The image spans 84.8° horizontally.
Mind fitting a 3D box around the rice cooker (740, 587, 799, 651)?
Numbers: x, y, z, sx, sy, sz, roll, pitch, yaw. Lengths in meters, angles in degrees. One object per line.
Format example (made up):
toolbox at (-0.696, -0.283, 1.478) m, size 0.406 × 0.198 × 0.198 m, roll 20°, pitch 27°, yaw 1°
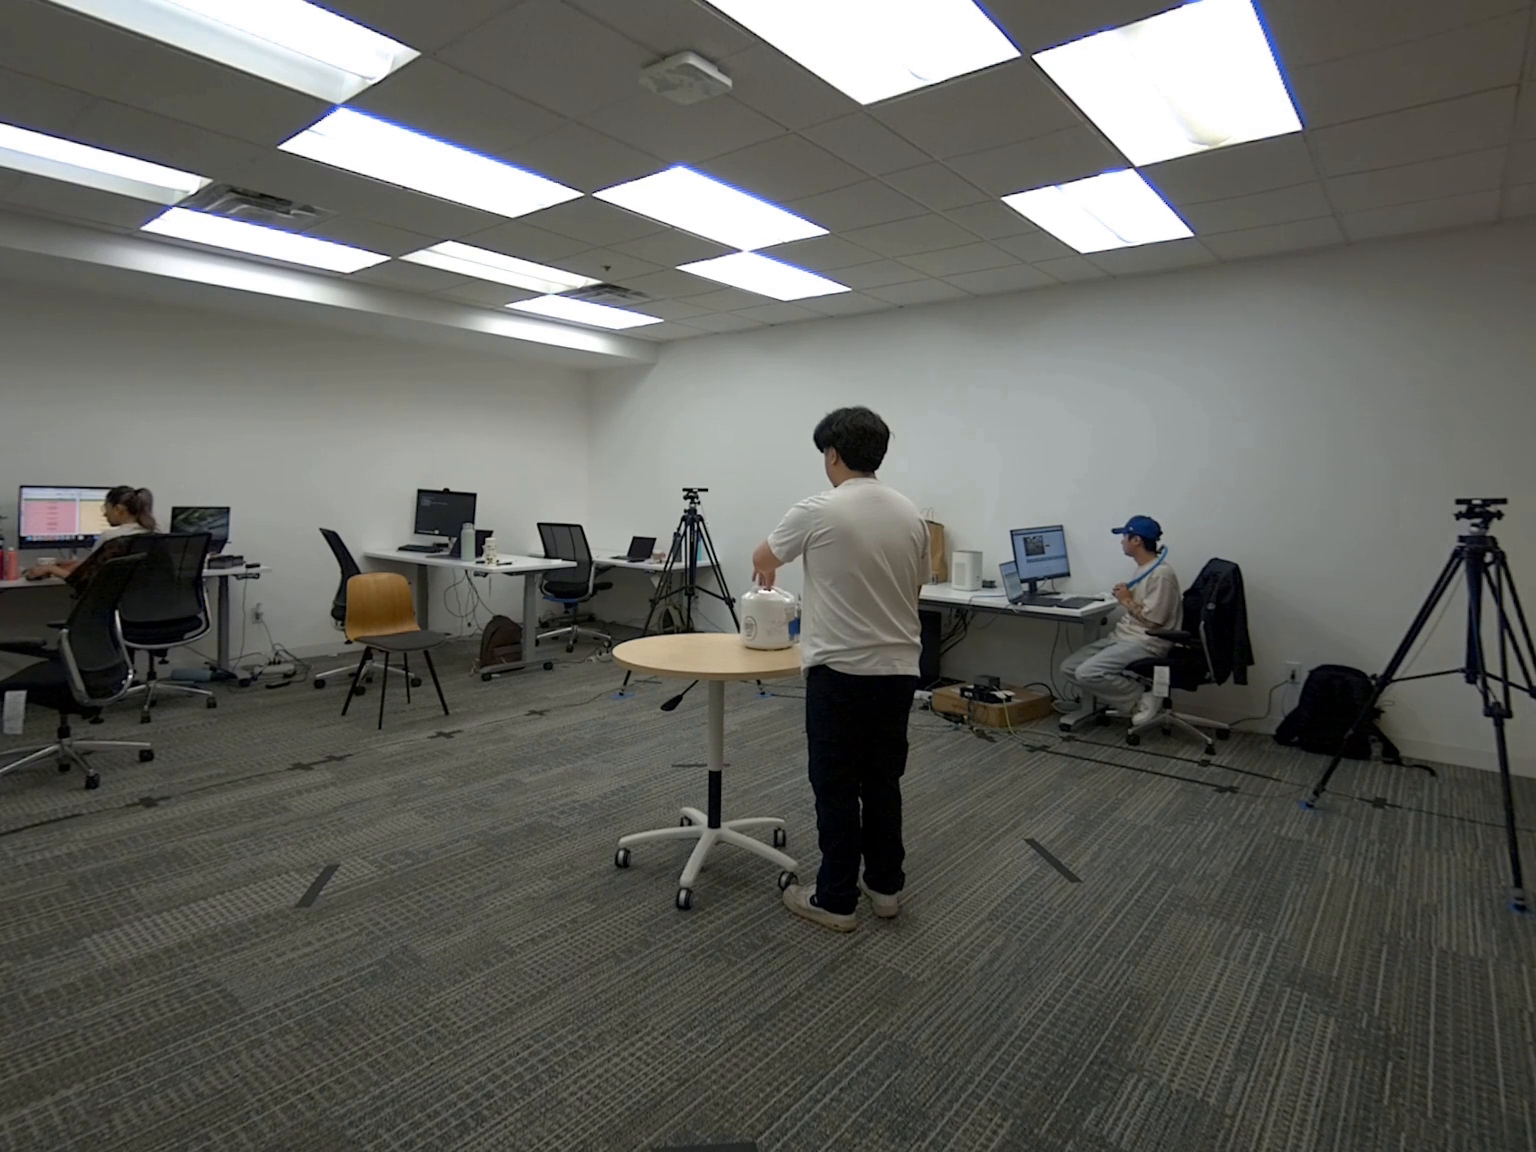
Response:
rice cooker at (-0.009, 0.148, 3.217) m, size 0.228 × 0.232 × 0.211 m, roll 4°, pitch 4°, yaw 39°
